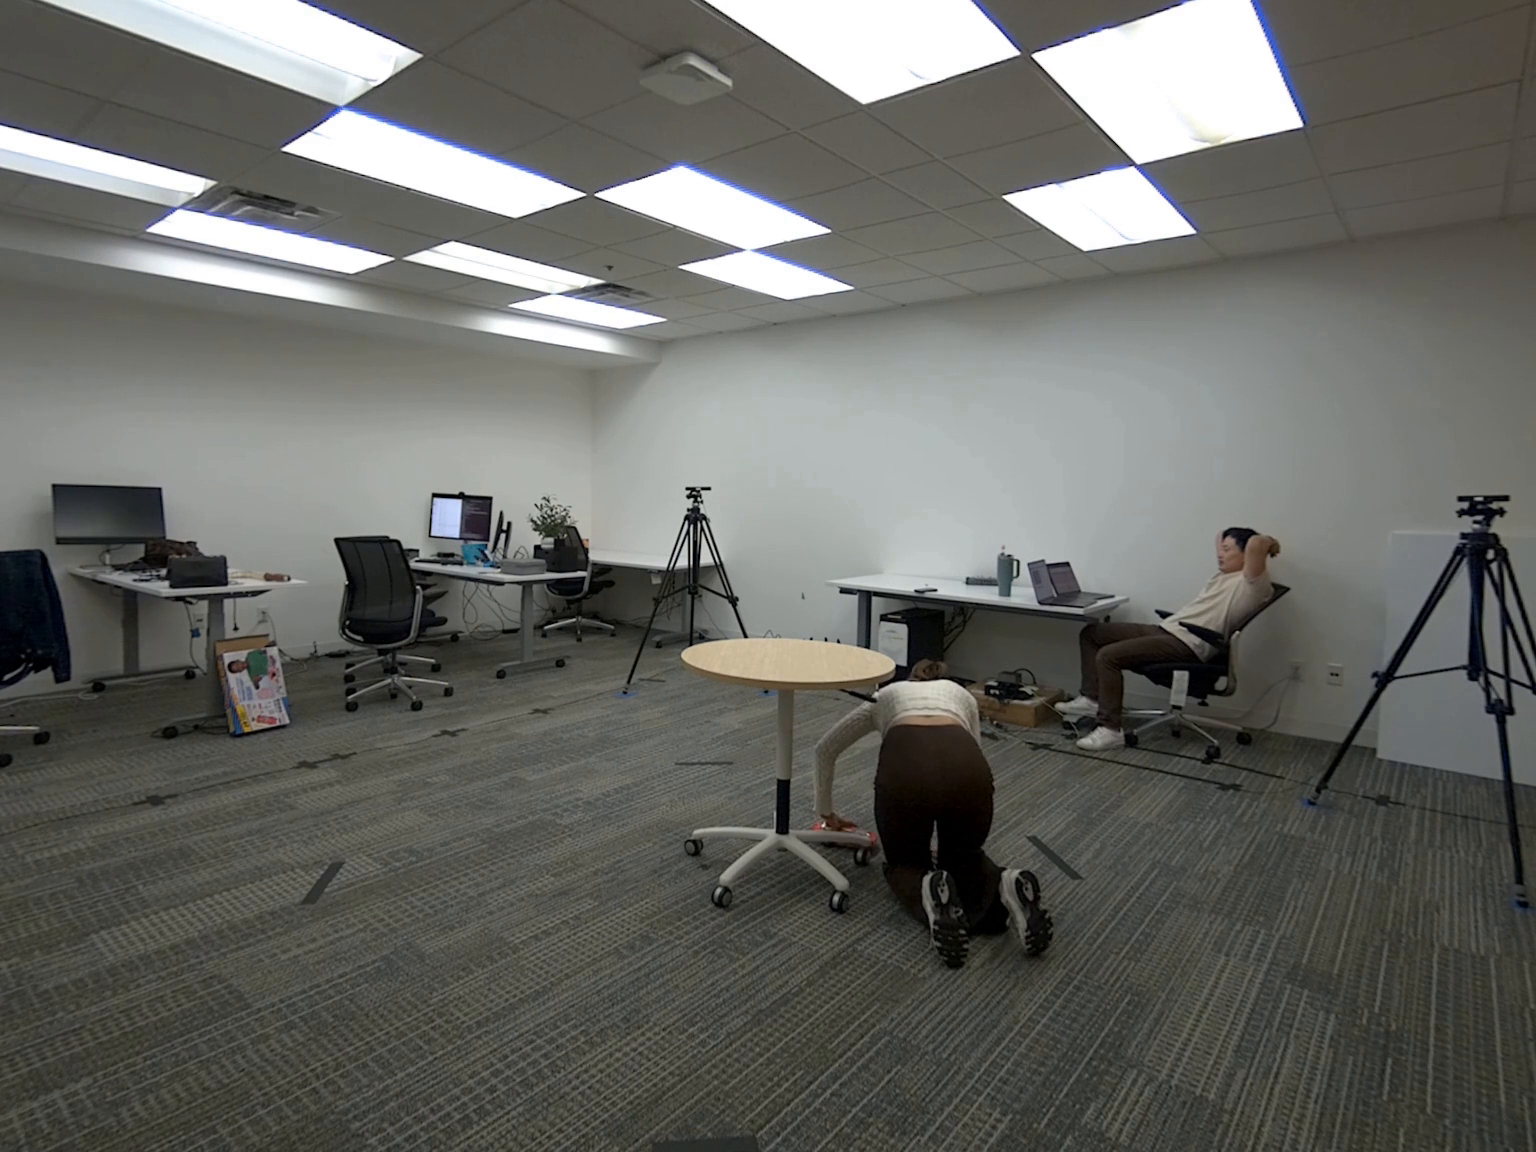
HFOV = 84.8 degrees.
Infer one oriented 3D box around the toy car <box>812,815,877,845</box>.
[{"bbox_3d":[0.291,1.024,3.338,0.260,0.082,0.128,16,12,16],"label":"toy car"}]
